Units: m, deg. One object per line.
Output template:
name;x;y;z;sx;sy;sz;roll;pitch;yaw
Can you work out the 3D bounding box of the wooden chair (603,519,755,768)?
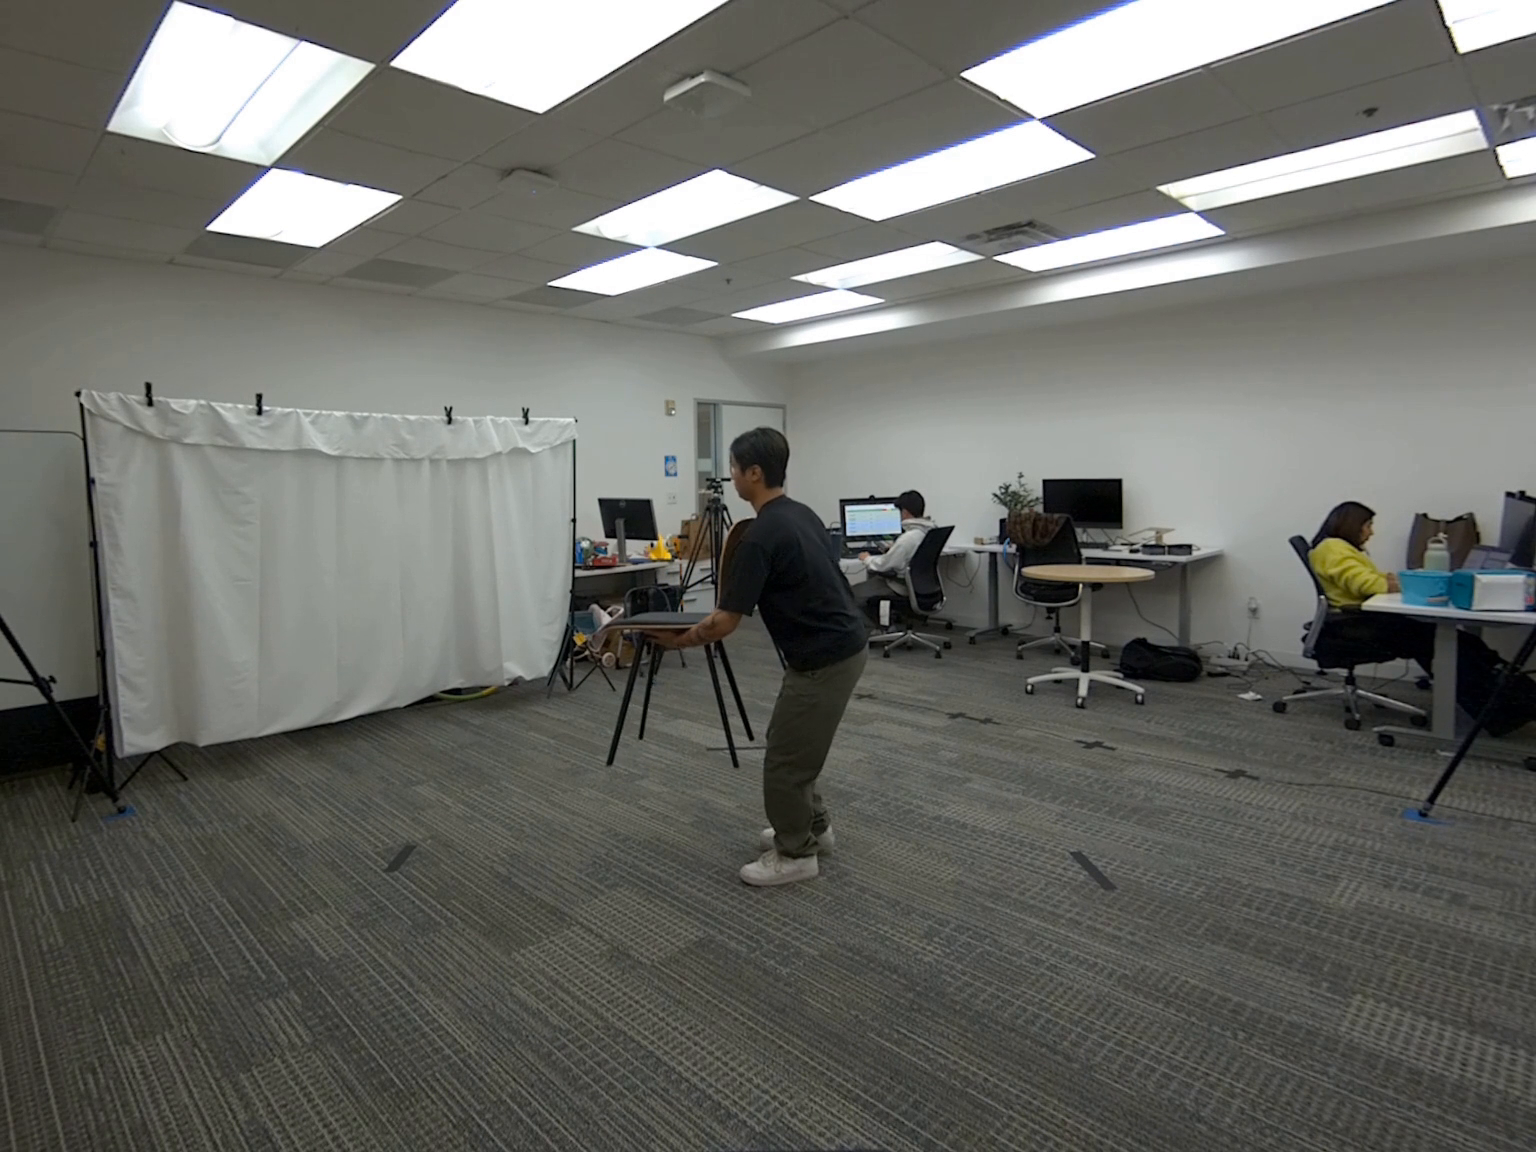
wooden chair;-0.314;0.219;3.101;0.527;0.878;0.474;2;0;7
